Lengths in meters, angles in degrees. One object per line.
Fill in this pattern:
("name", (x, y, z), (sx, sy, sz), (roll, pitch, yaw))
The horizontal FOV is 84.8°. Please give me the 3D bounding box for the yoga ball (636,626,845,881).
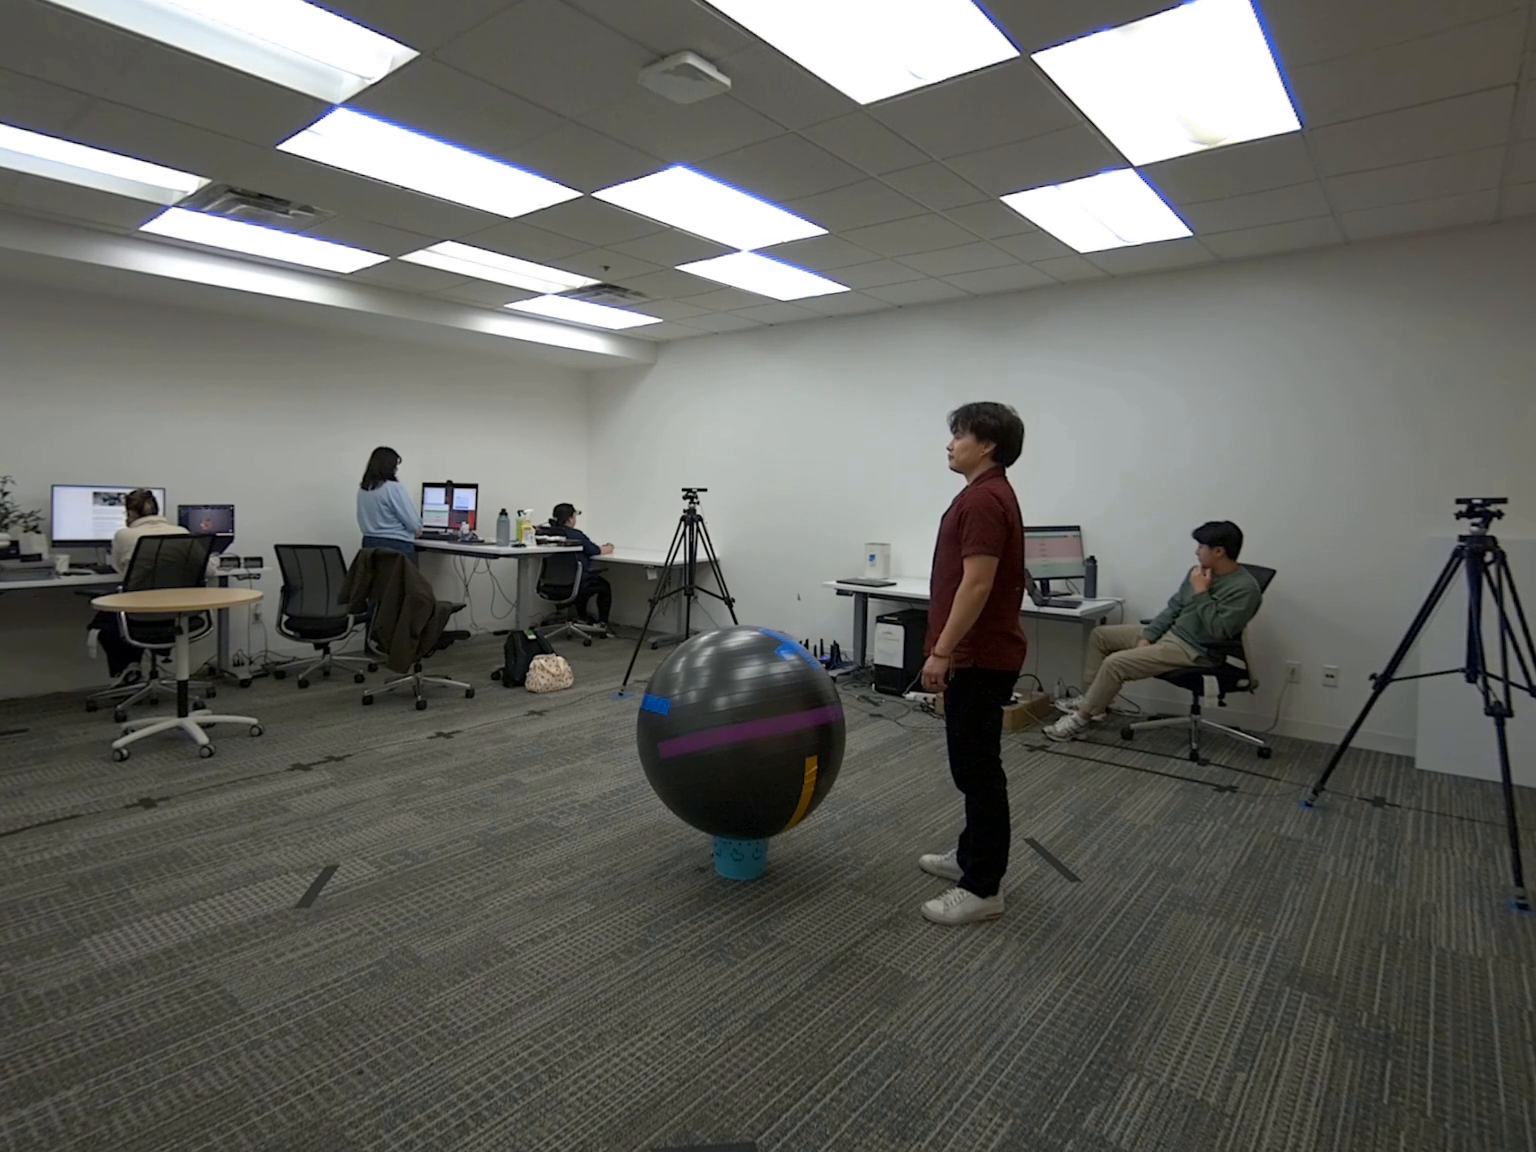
("yoga ball", (-0.117, 0.567, 3.111), (0.757, 0.755, 0.762), (1, 4, -2))
